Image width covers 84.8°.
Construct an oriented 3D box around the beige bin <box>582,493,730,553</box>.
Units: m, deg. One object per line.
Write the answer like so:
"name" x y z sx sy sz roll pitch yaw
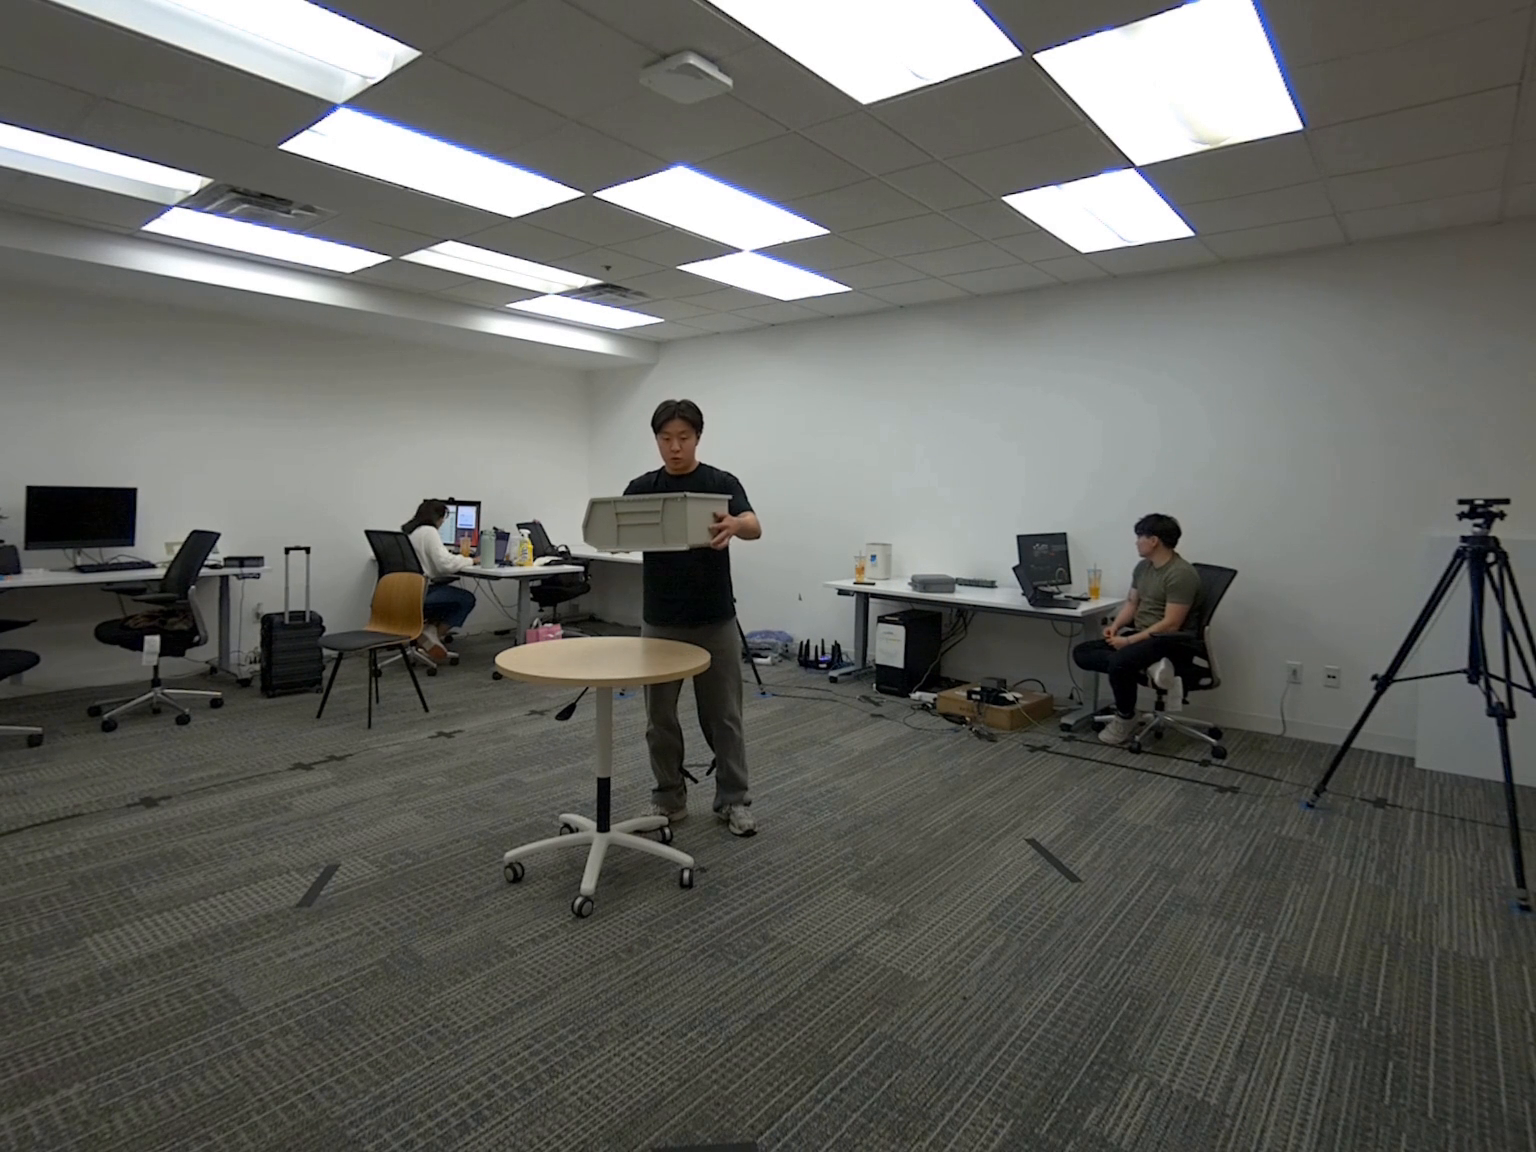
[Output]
"beige bin" -0.388 -0.180 2.908 0.385 0.189 0.414 0 3 19
